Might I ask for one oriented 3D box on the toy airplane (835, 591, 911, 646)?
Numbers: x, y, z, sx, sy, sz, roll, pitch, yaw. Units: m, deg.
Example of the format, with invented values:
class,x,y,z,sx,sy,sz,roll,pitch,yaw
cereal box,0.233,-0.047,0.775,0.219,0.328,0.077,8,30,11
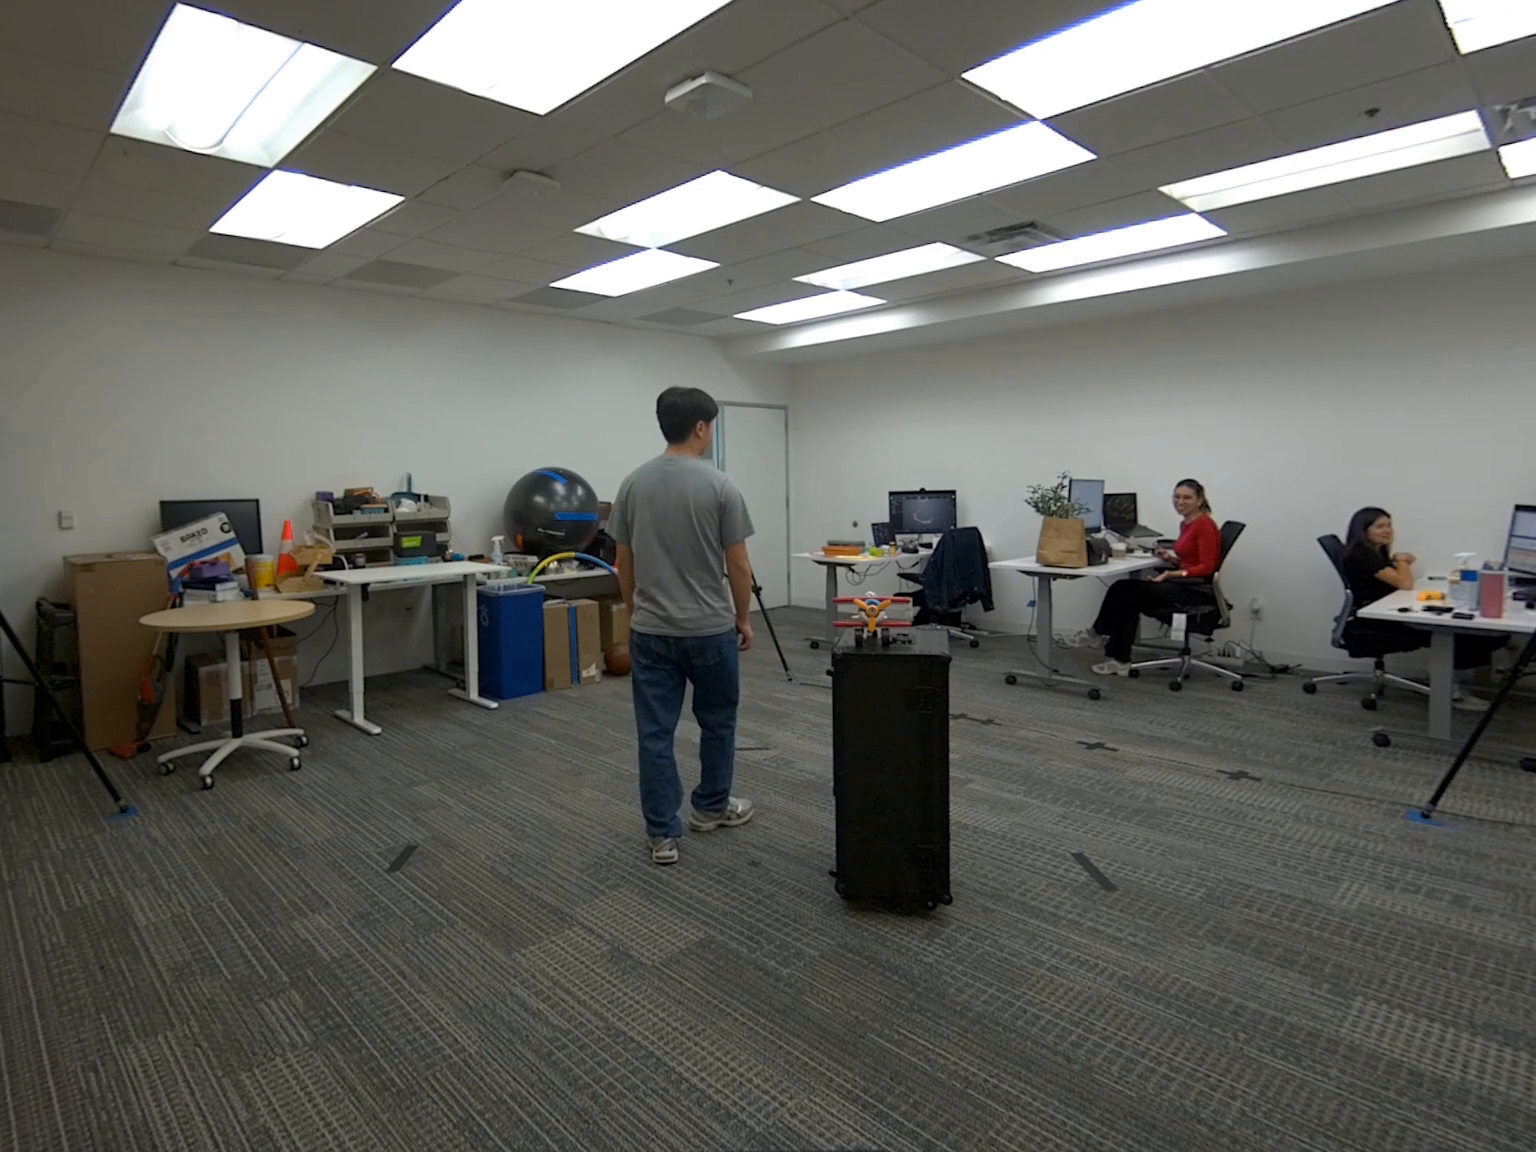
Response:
class,x,y,z,sx,sy,sz,roll,pitch,yaw
toy airplane,0.332,0.137,2.860,0.246,0.155,0.265,-3,7,-22
